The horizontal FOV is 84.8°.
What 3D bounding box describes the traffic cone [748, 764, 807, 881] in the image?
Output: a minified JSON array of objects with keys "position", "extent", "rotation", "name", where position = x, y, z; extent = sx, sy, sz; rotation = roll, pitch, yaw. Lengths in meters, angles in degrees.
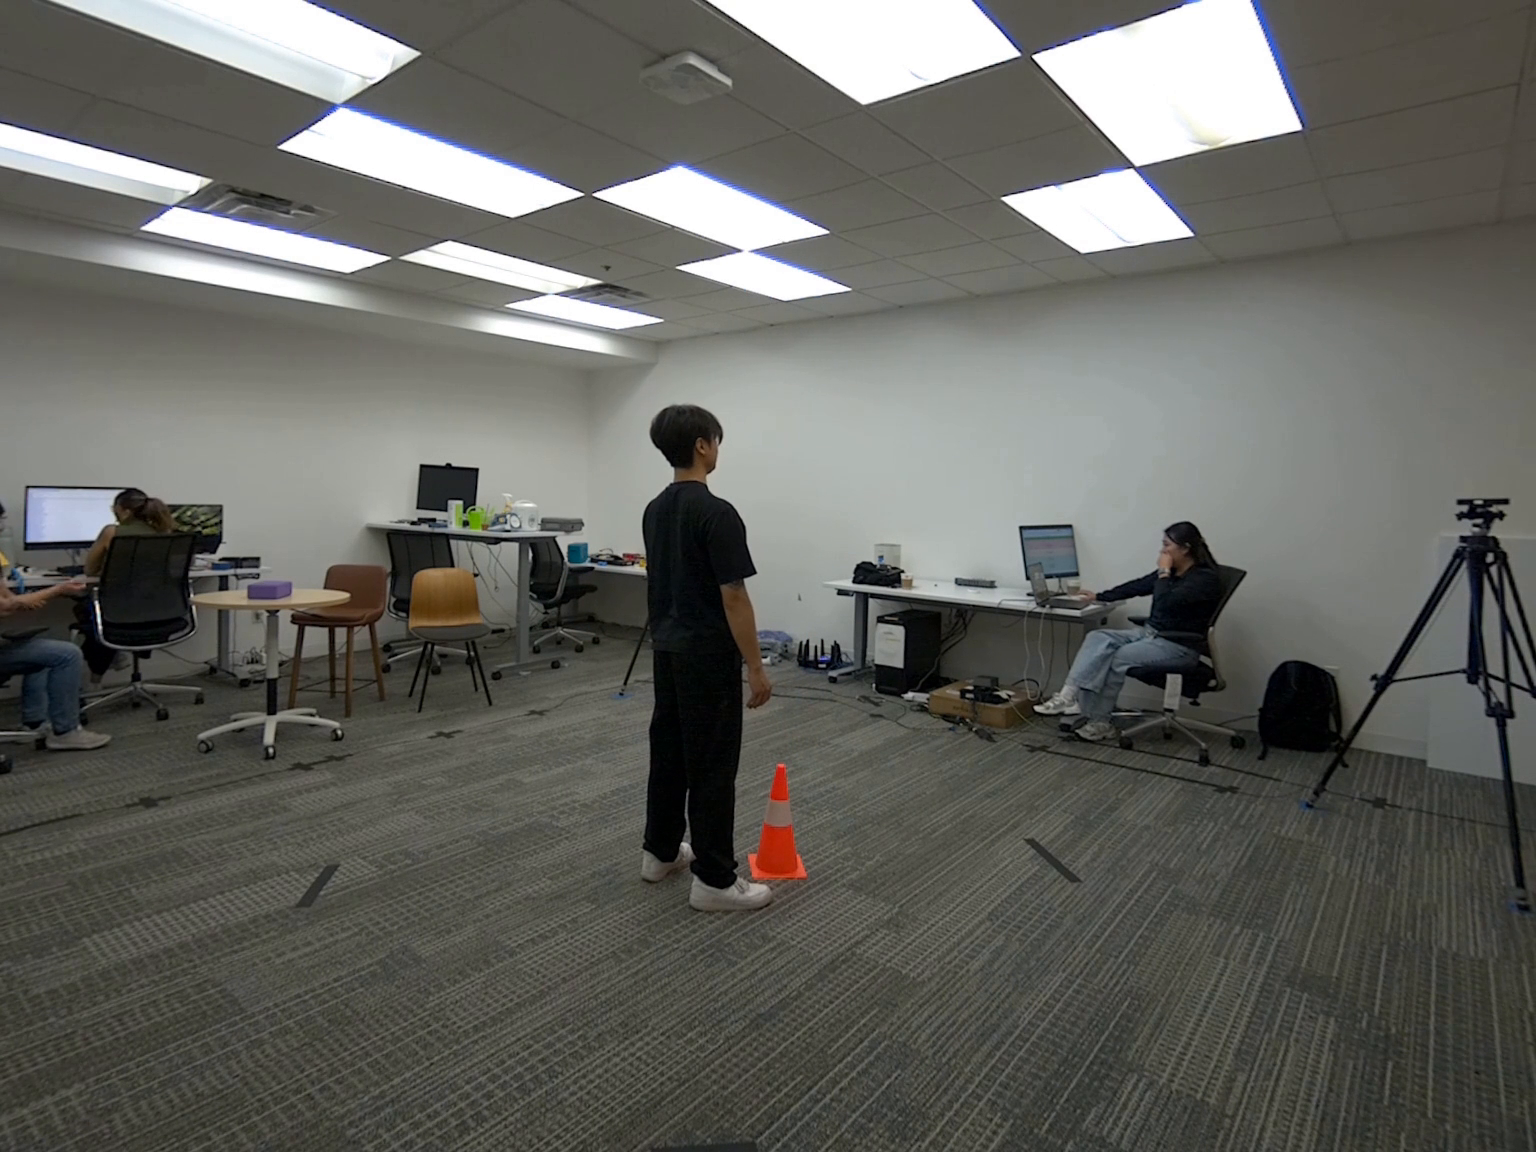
[{"position":[0.030,0.885,3.150],"extent":[0.202,0.383,0.206],"rotation":[3,1,-4],"name":"traffic cone"}]
